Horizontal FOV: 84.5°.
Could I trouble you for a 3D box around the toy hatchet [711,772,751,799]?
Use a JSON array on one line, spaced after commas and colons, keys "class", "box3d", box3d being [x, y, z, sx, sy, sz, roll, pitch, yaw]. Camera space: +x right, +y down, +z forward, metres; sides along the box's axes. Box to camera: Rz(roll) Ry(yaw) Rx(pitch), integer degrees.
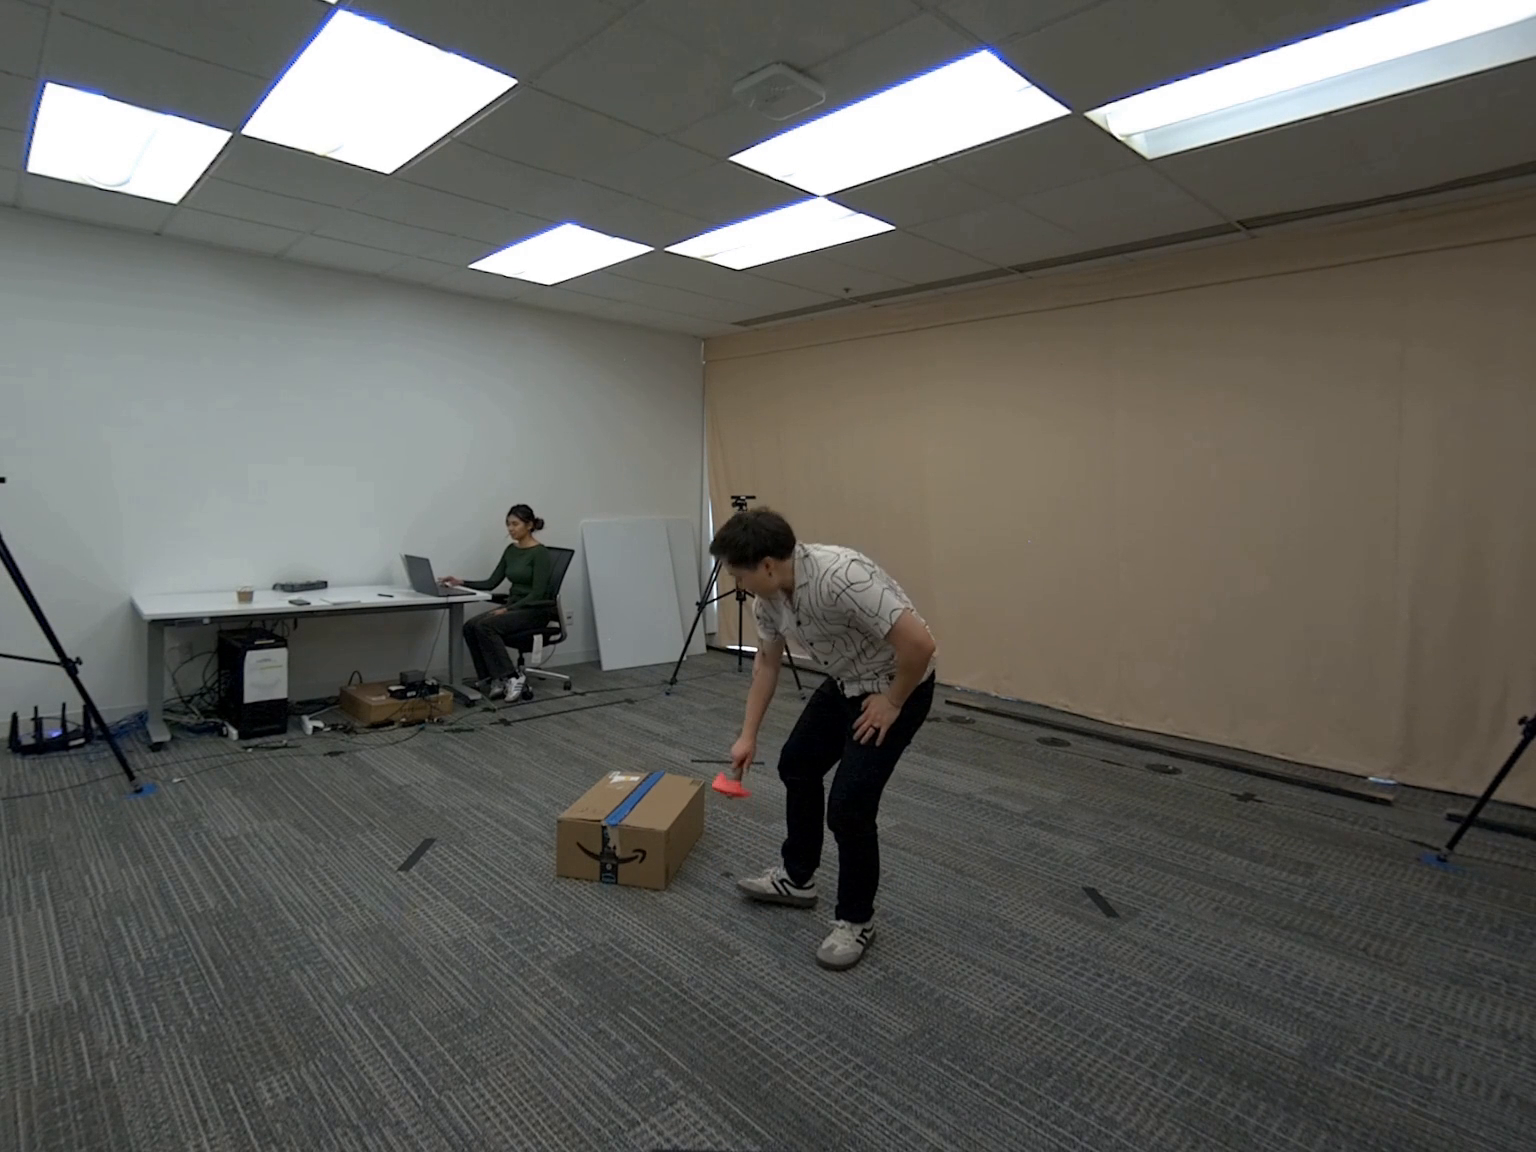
[{"class": "toy hatchet", "box3d": [-0.111, 0.624, 2.732, 0.128, 0.029, 0.278, 16, 24, -29]}]
